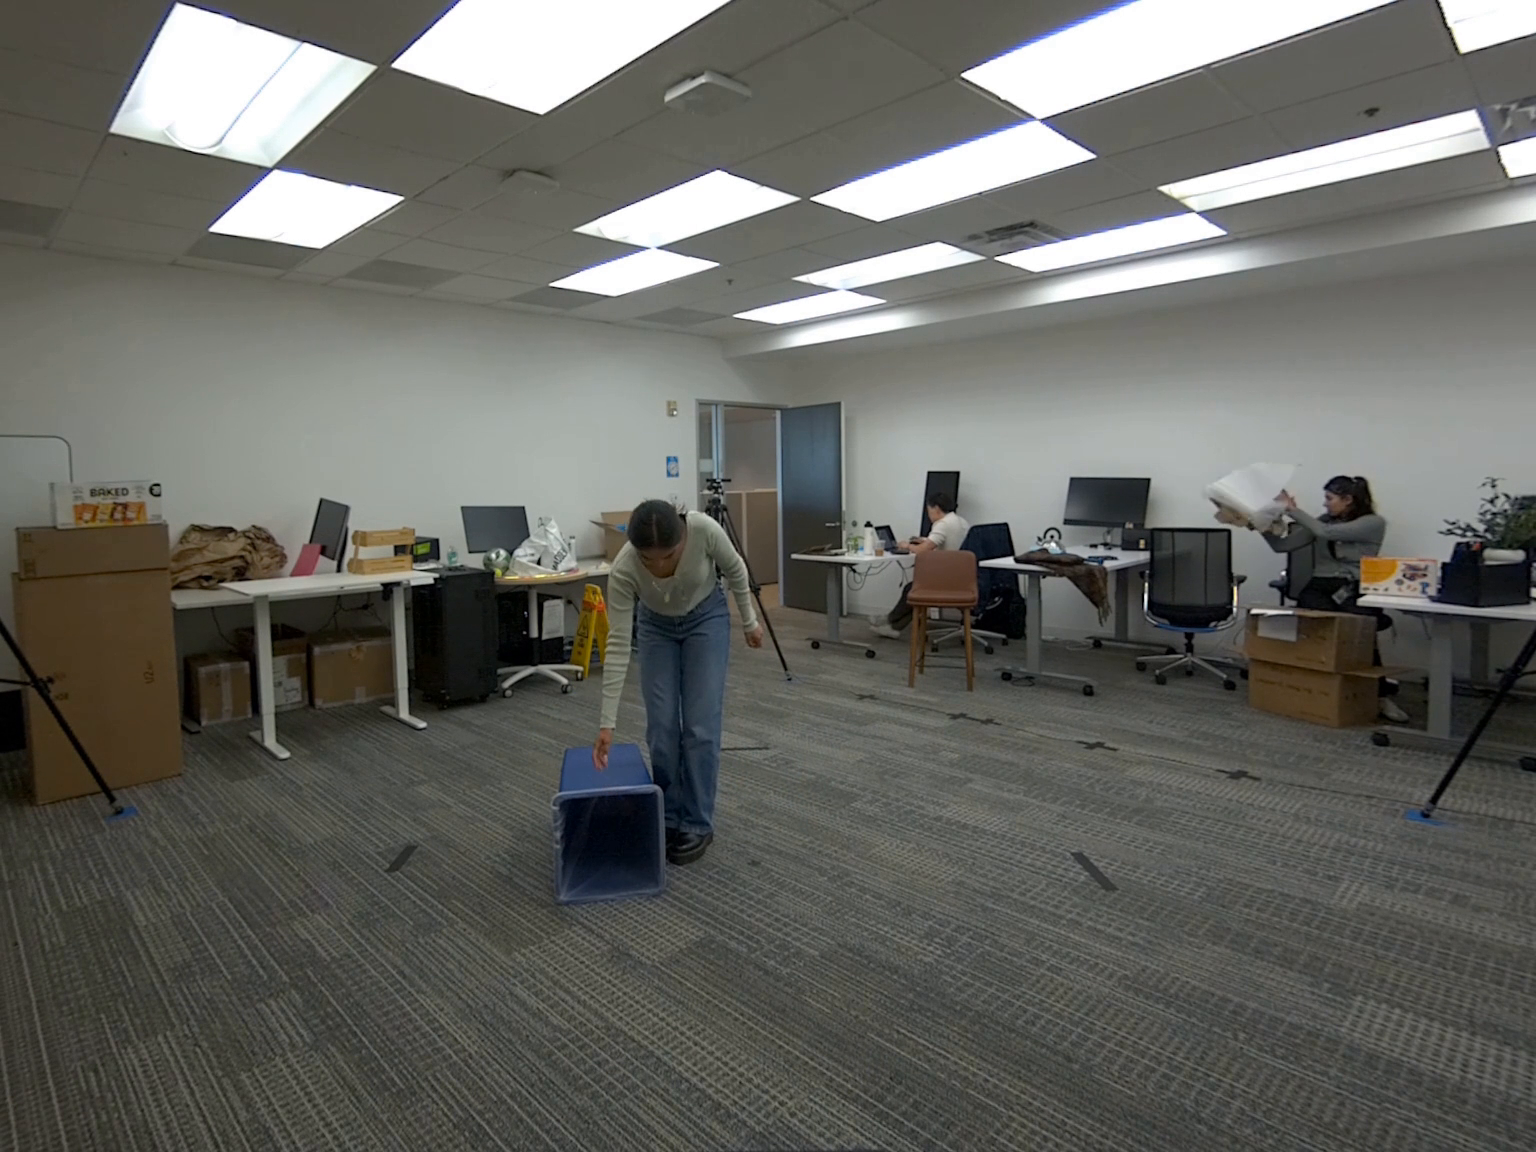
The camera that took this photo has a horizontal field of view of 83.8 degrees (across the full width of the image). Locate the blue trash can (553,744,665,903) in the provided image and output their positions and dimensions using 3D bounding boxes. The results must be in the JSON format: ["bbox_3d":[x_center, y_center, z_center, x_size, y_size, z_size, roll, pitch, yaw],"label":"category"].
[{"bbox_3d":[-0.600,0.865,3.188,0.370,0.377,0.722,-2,4,-11],"label":"blue trash can"}]
